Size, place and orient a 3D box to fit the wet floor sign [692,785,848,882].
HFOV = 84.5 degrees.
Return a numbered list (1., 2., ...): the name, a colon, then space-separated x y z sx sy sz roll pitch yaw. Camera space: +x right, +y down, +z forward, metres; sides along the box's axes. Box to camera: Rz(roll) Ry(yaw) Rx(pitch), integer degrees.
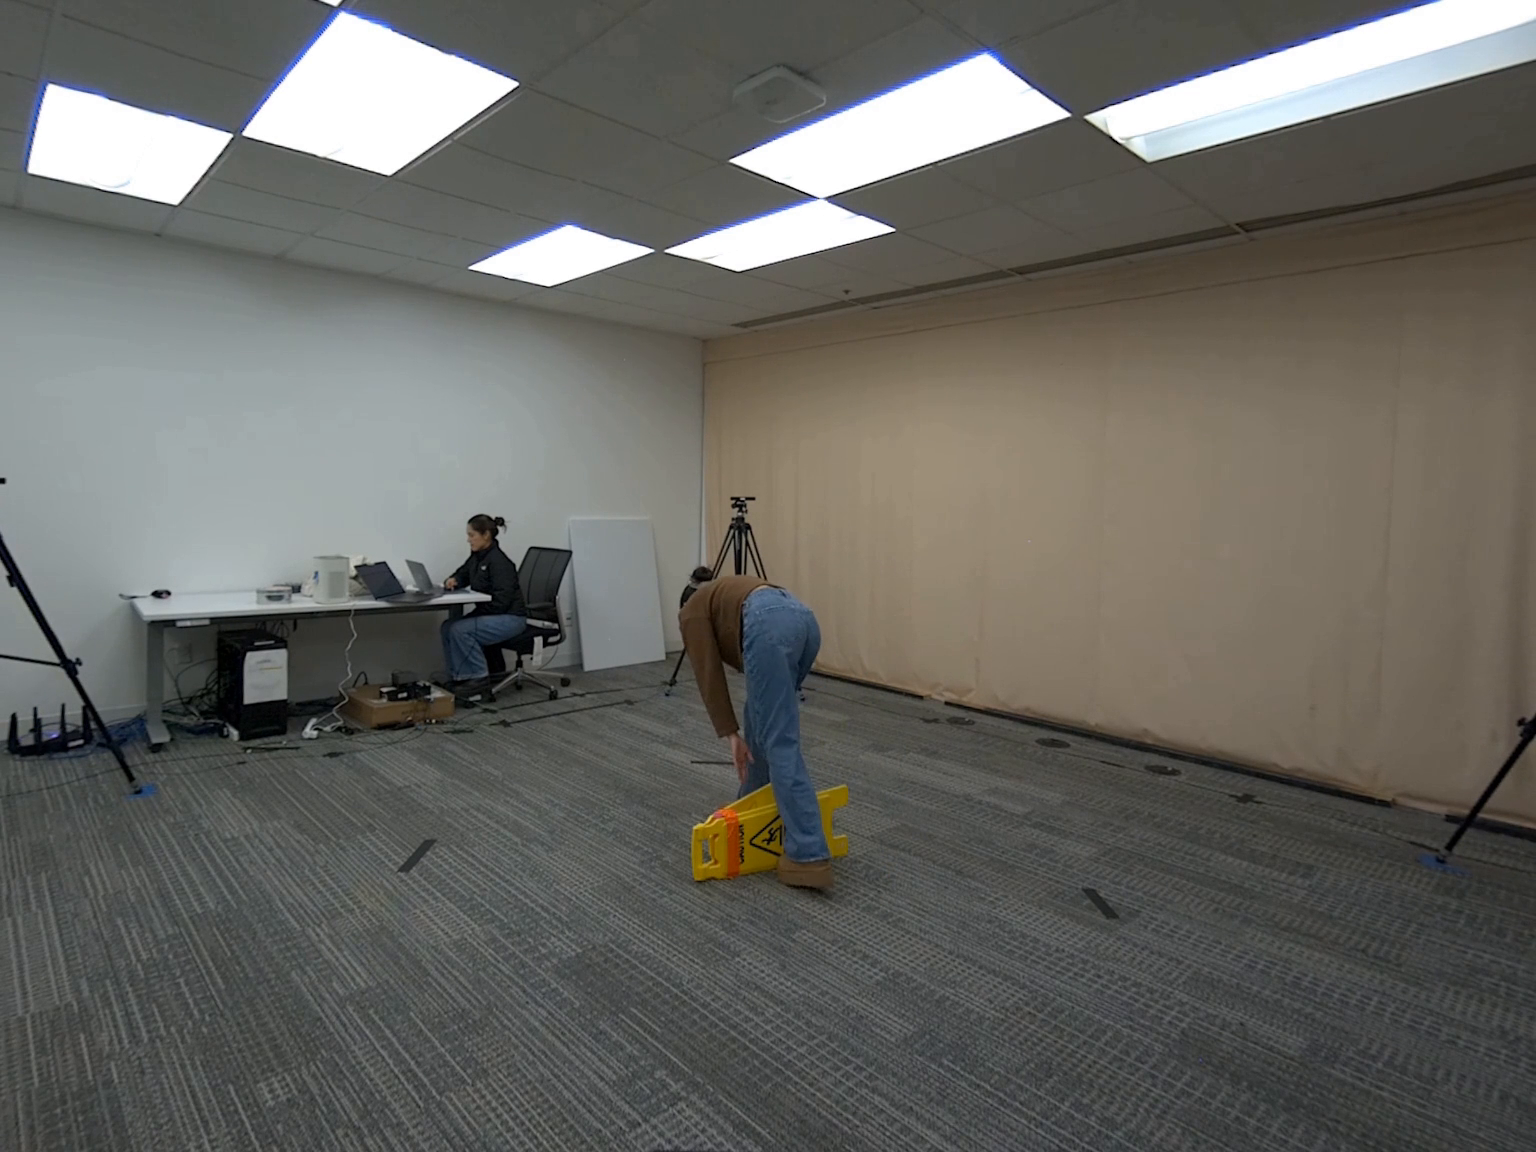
1. wet floor sign: -0.022 0.973 3.220 0.632 0.281 0.297 -5 6 -38
